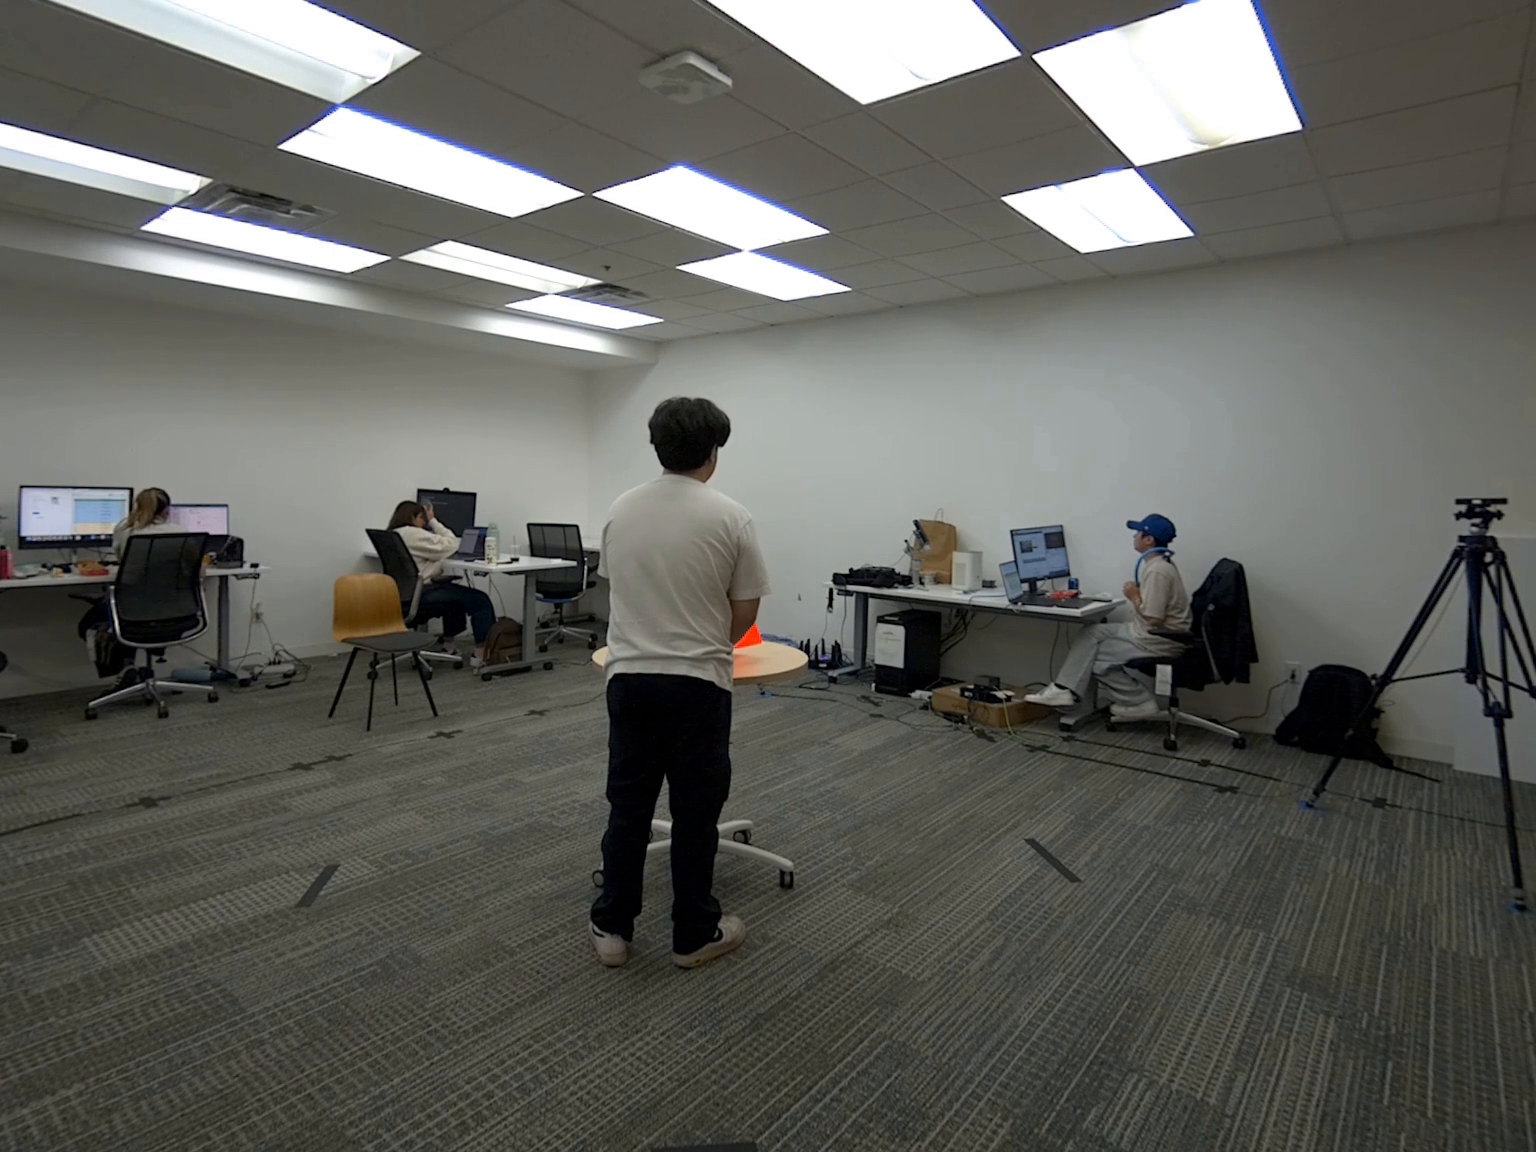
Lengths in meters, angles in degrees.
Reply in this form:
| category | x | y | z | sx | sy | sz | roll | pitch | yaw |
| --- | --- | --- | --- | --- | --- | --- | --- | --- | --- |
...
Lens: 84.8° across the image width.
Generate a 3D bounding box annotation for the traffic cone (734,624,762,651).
| category | x | y | z | sx | sy | sz | roll | pitch | yaw |
| --- | --- | --- | --- | --- | --- | --- | --- | --- | --- |
| traffic cone | -0.201 | 0.236 | 2.870 | 0.209 | 0.200 | 0.383 | -6 | 16 | 19 |
